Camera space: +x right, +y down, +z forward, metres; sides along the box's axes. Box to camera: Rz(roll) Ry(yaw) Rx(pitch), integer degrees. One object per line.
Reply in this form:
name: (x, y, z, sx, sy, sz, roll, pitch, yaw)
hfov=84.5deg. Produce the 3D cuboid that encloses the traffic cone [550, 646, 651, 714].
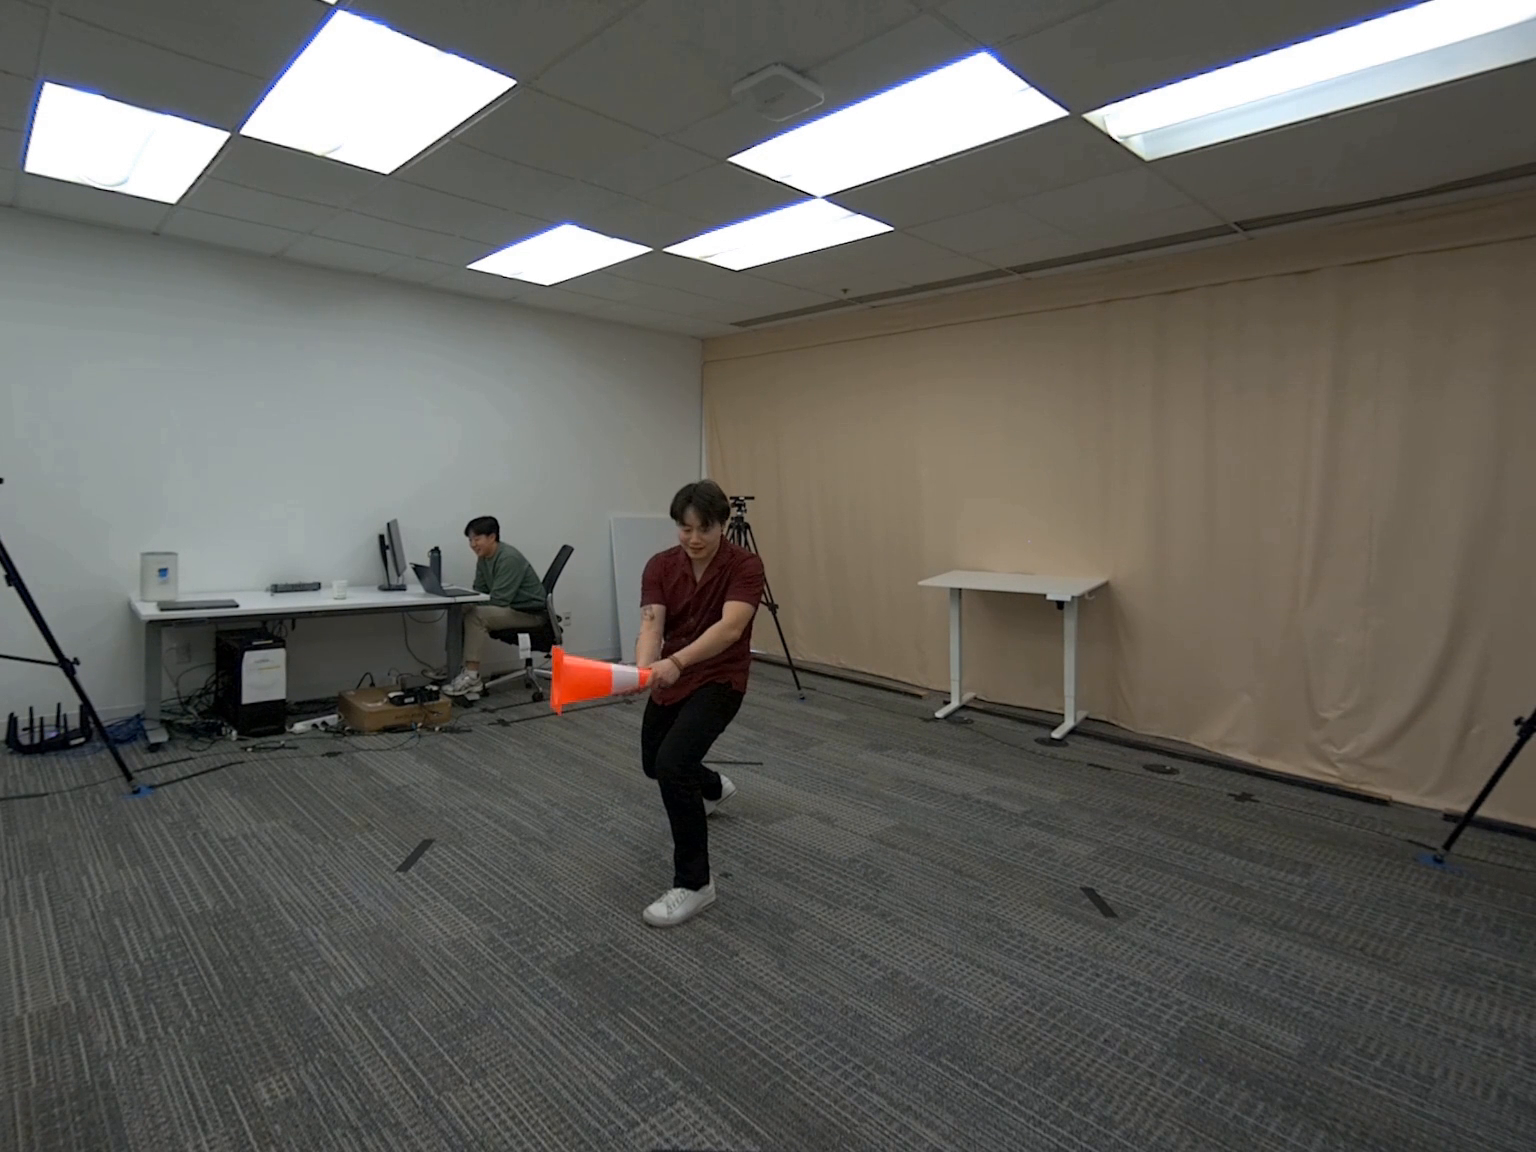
traffic cone: (-0.490, 0.332, 2.688, 0.378, 0.205, 0.206, 3, -2, -18)
